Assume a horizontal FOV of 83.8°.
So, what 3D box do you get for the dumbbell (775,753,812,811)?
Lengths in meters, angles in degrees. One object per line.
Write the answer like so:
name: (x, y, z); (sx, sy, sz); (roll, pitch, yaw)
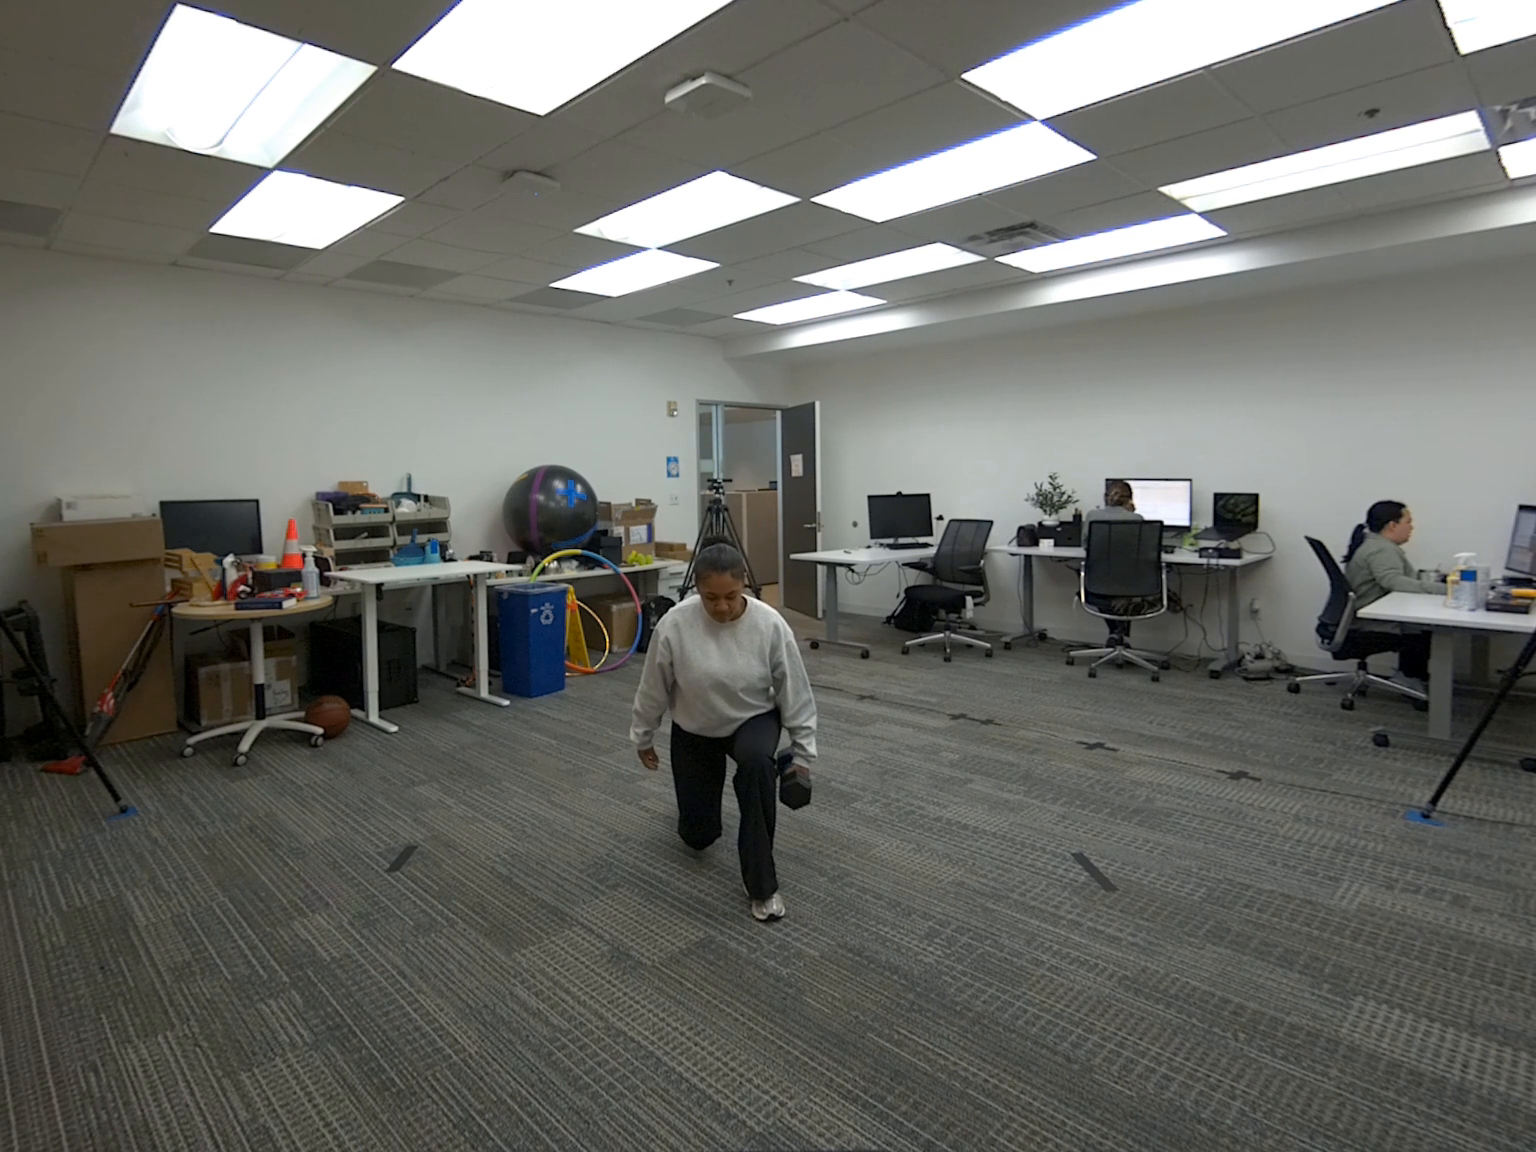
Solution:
dumbbell: (0.079, 0.705, 3.039); (0.108, 0.122, 0.297); (5, 13, -2)
